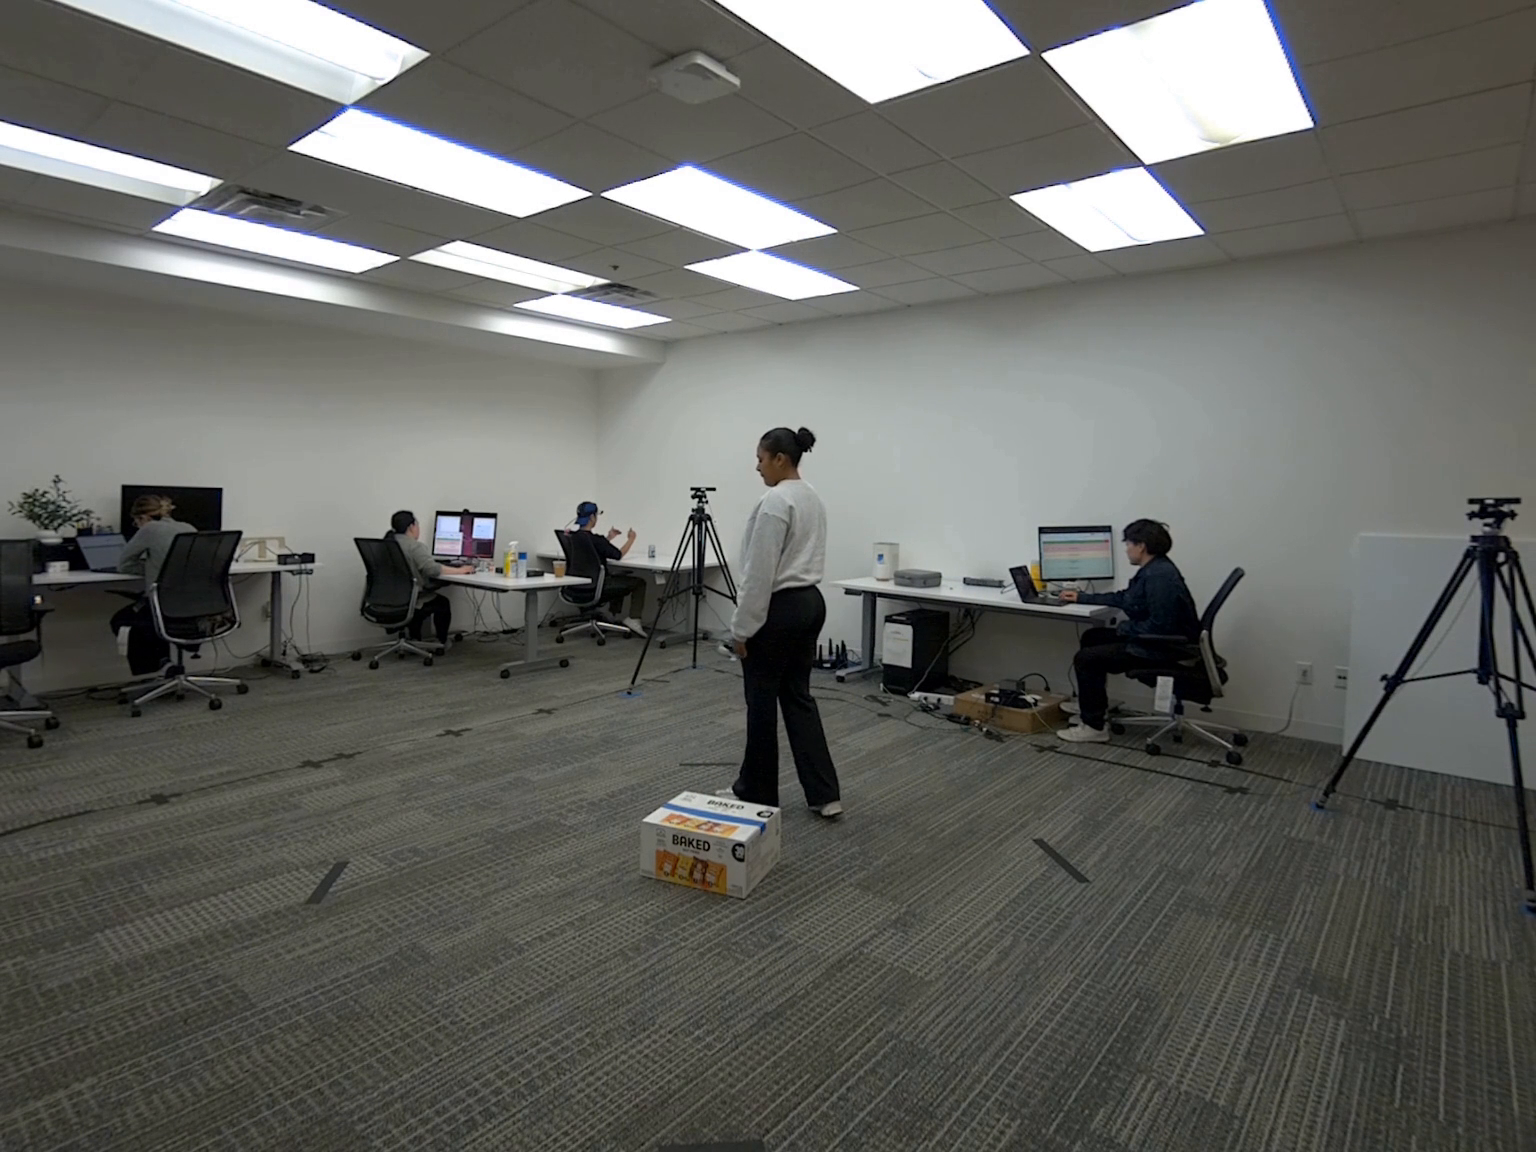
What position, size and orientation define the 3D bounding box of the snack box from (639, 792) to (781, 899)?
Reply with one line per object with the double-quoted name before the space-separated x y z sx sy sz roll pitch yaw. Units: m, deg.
"snack box" -0.215 0.966 3.097 0.415 0.205 0.333 3 6 23
